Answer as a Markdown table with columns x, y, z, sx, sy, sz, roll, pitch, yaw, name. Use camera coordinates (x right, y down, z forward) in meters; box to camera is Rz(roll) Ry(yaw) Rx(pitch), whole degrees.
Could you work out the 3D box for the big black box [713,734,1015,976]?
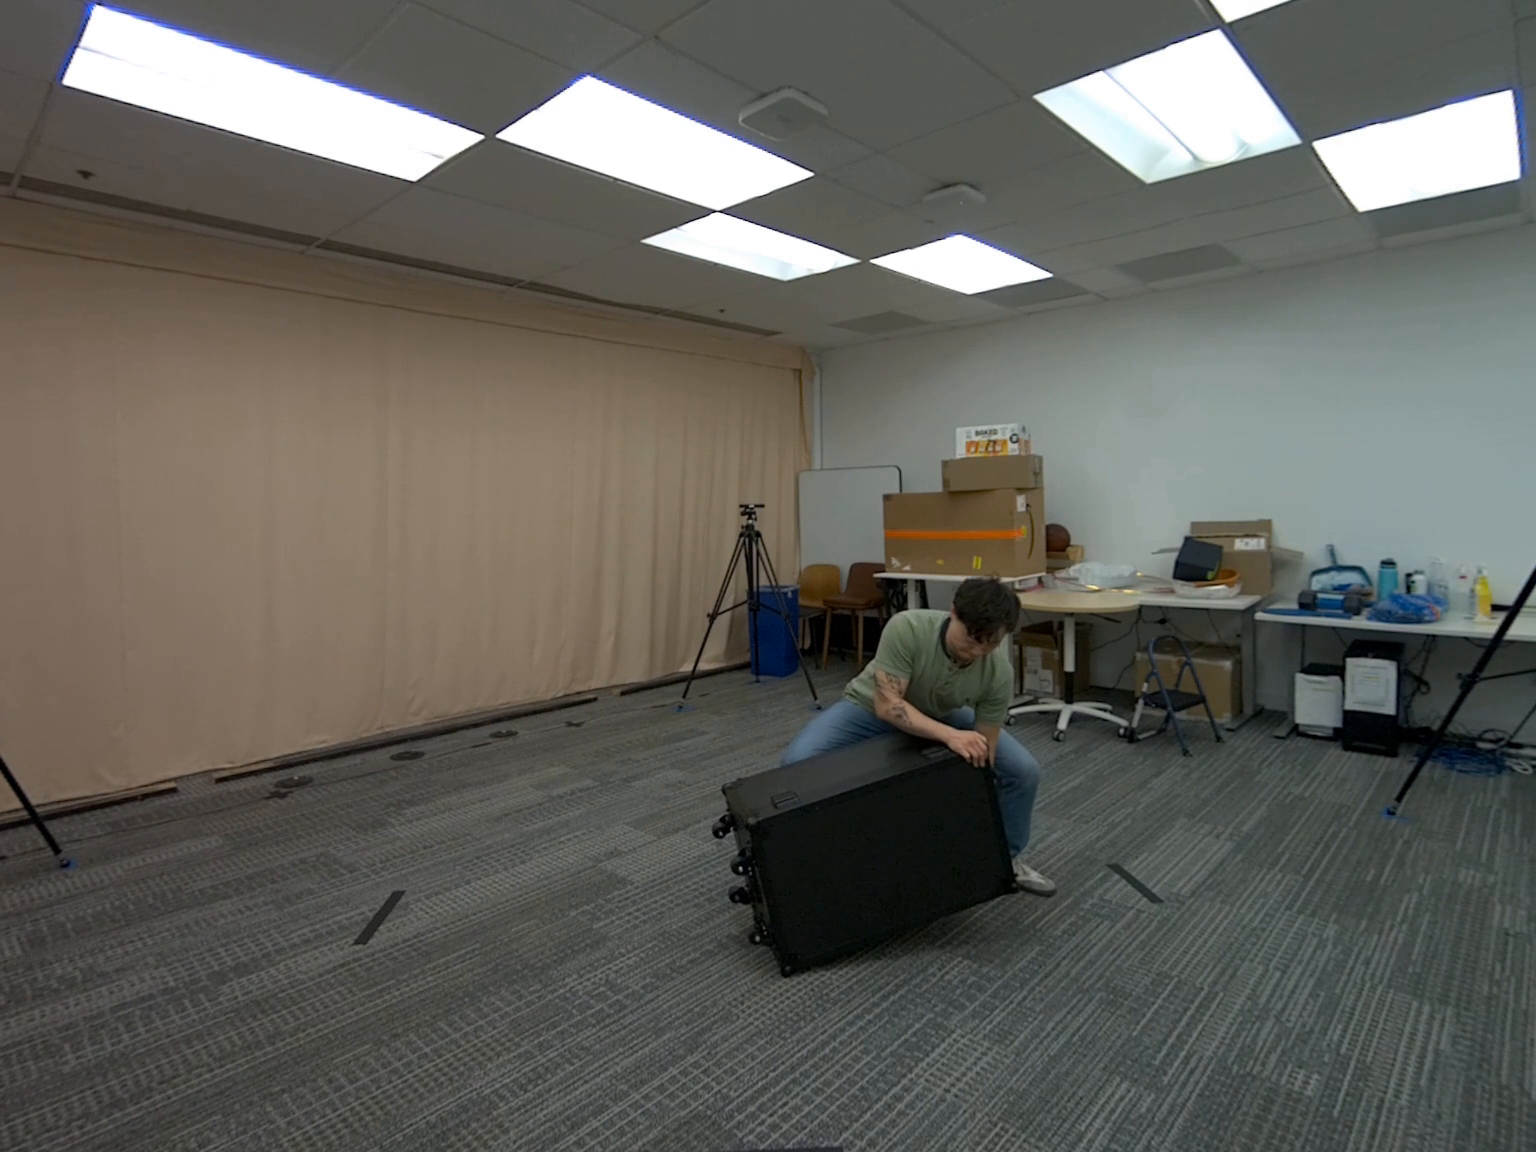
| x | y | z | sx | sy | sz | roll | pitch | yaw | name |
| --- | --- | --- | --- | --- | --- | --- | --- | --- | --- |
| 0.279 | 0.840 | 2.693 | 0.853 | 0.519 | 0.402 | -15 | 6 | -11 | big black box |
